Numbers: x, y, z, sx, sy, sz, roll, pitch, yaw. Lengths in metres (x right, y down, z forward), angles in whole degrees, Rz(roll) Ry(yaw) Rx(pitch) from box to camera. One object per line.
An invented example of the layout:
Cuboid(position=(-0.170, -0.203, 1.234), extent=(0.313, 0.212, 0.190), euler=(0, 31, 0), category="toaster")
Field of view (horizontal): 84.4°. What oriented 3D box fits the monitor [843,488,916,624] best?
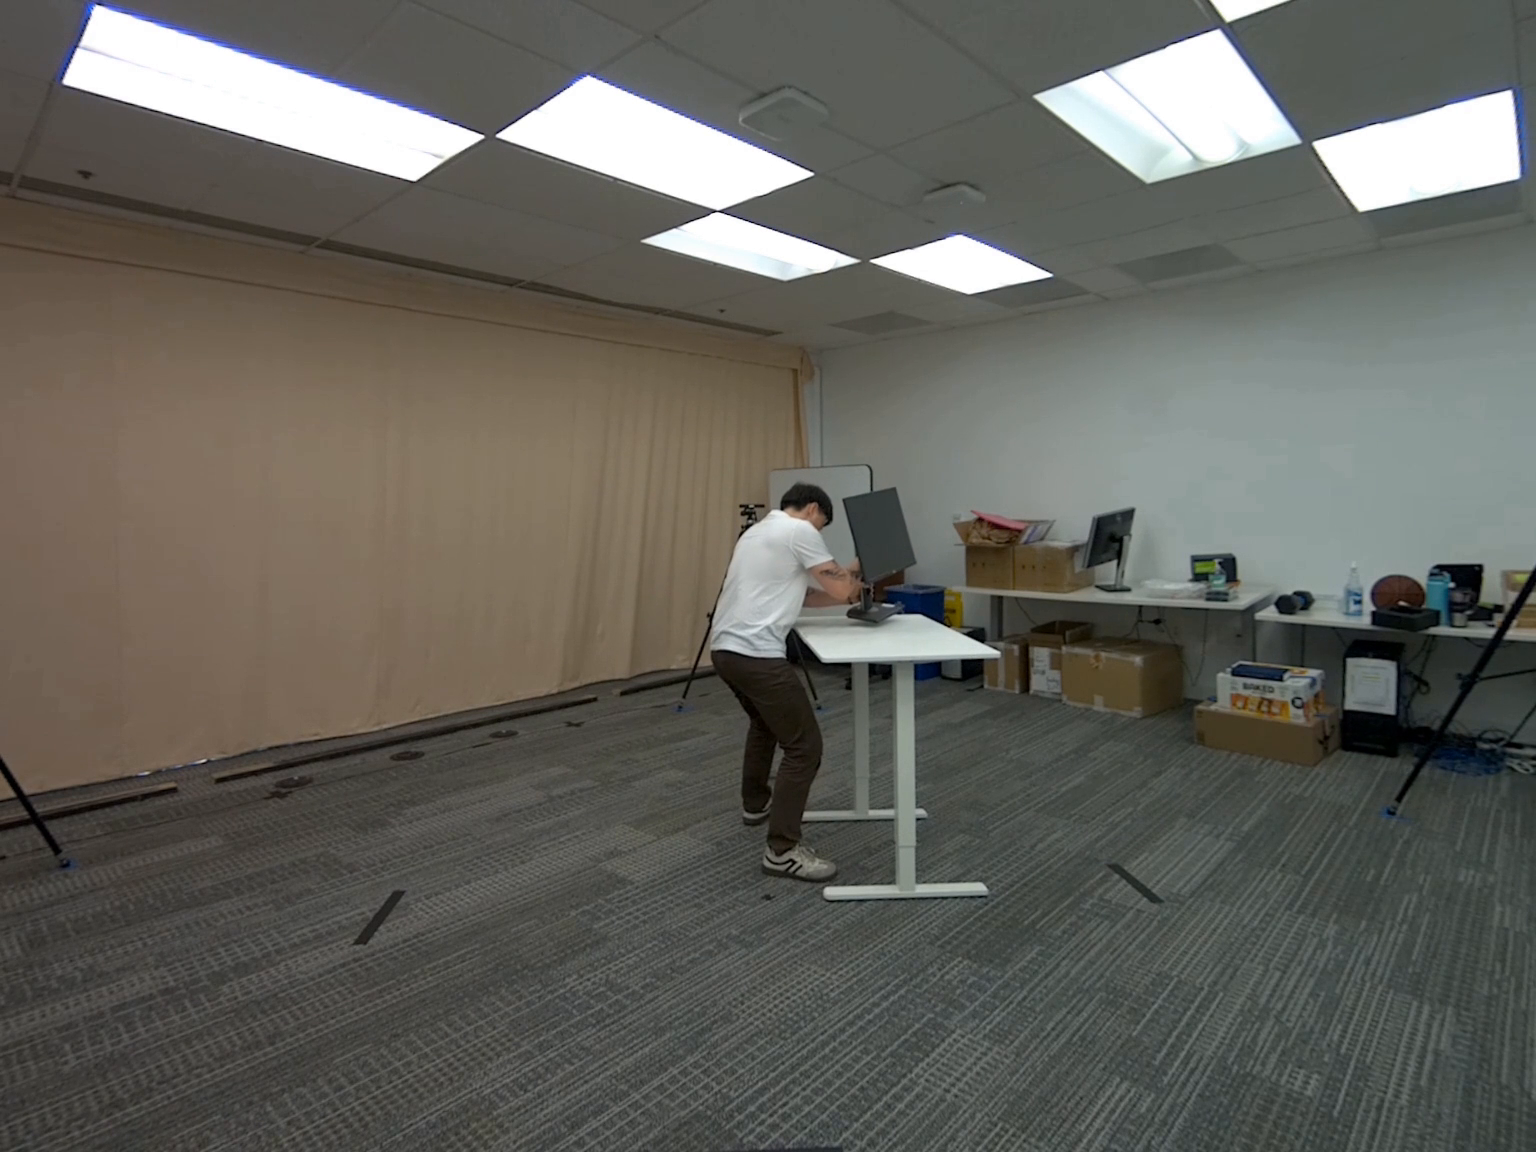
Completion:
Cuboid(position=(0.447, -0.089, 3.533), extent=(0.192, 0.519, 0.527), euler=(3, 10, 27), category="monitor")
